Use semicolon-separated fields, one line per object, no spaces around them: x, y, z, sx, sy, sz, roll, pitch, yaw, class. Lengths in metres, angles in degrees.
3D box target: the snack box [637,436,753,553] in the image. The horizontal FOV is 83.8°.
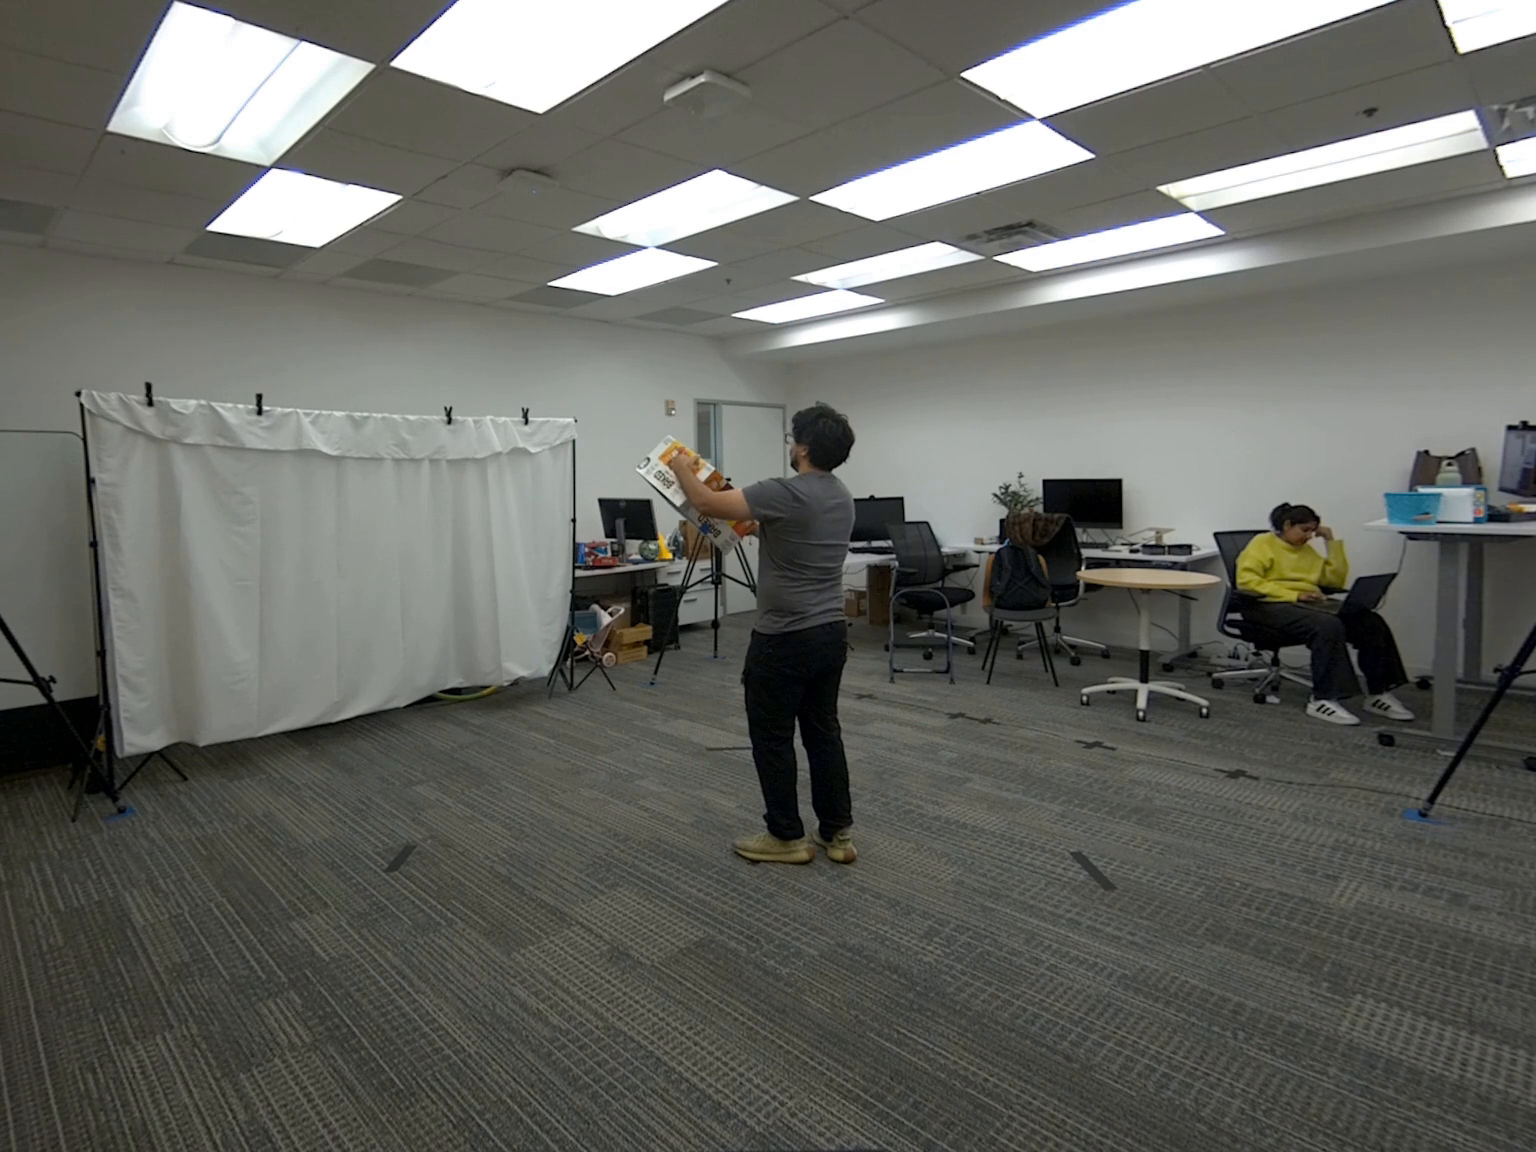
-0.284;-0.332;3.459;0.327;0.205;0.421;46;-3;-41;snack box
